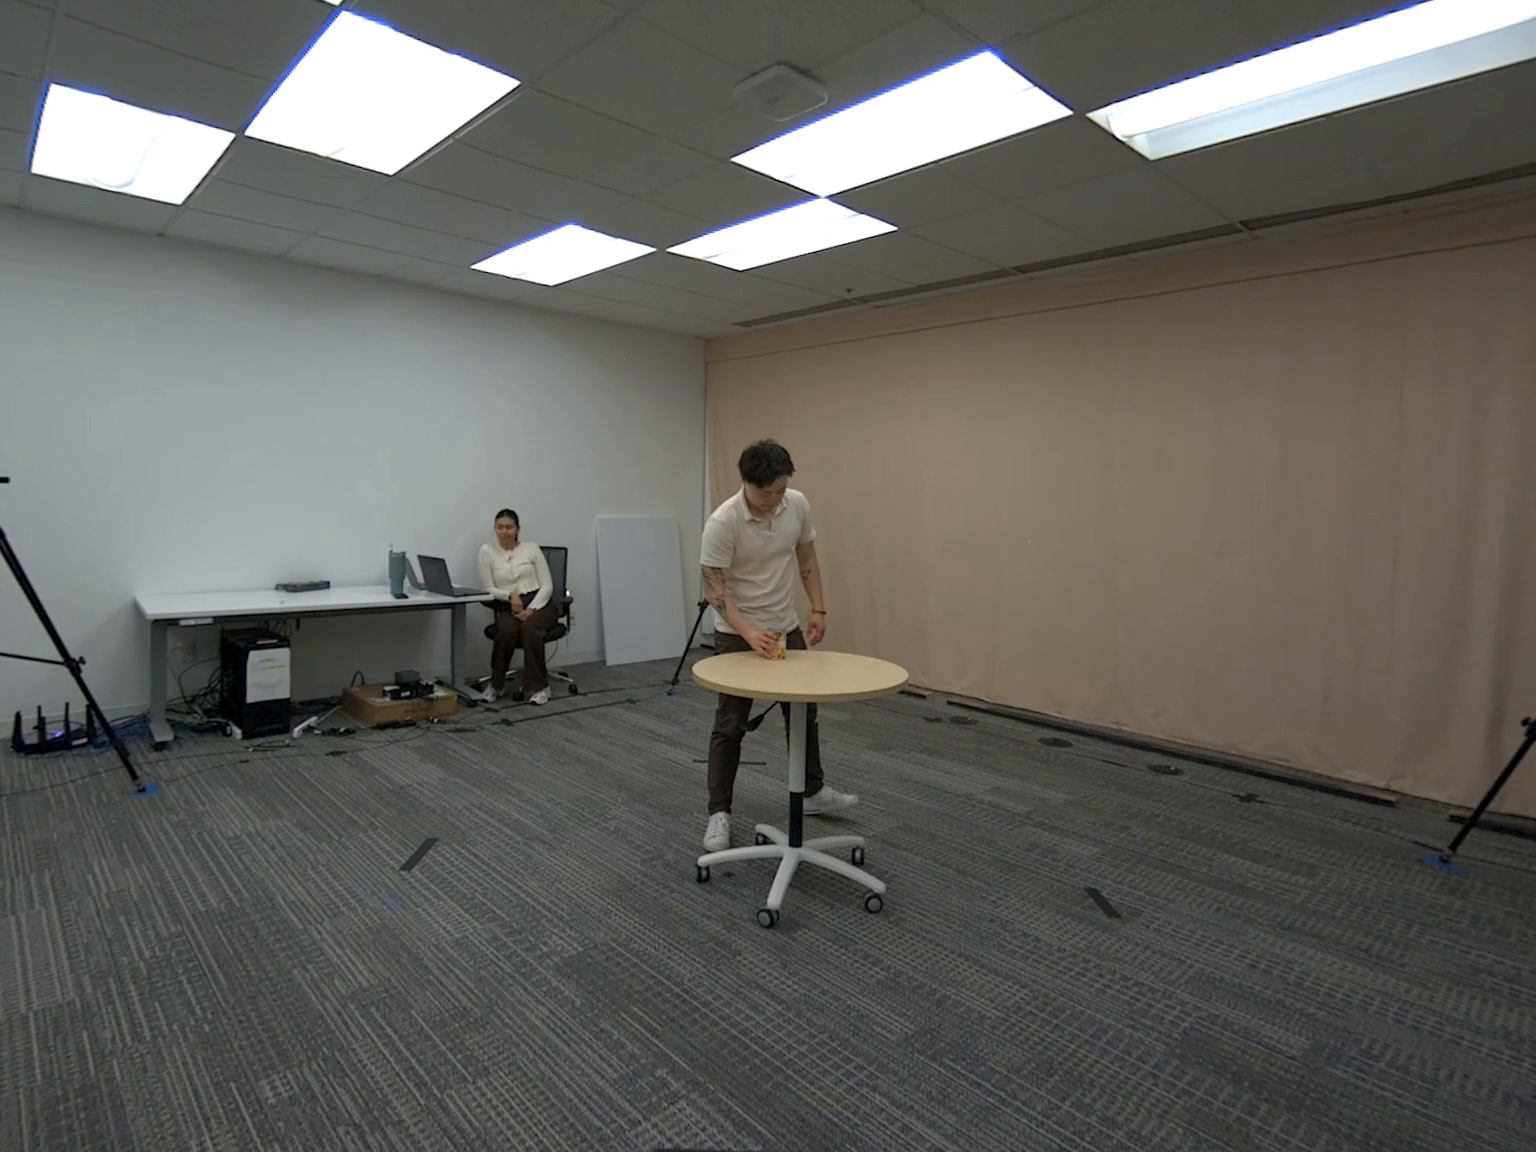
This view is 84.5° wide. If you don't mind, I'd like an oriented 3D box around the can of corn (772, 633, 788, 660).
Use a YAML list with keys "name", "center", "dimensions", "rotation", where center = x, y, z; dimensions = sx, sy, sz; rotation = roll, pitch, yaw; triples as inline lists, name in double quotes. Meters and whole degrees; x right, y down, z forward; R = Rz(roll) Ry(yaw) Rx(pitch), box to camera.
- name: "can of corn"
  center: [0.018, 0.260, 3.201]
  dimensions: [0.074, 0.111, 0.074]
  rotation: [1, 2, -1]
